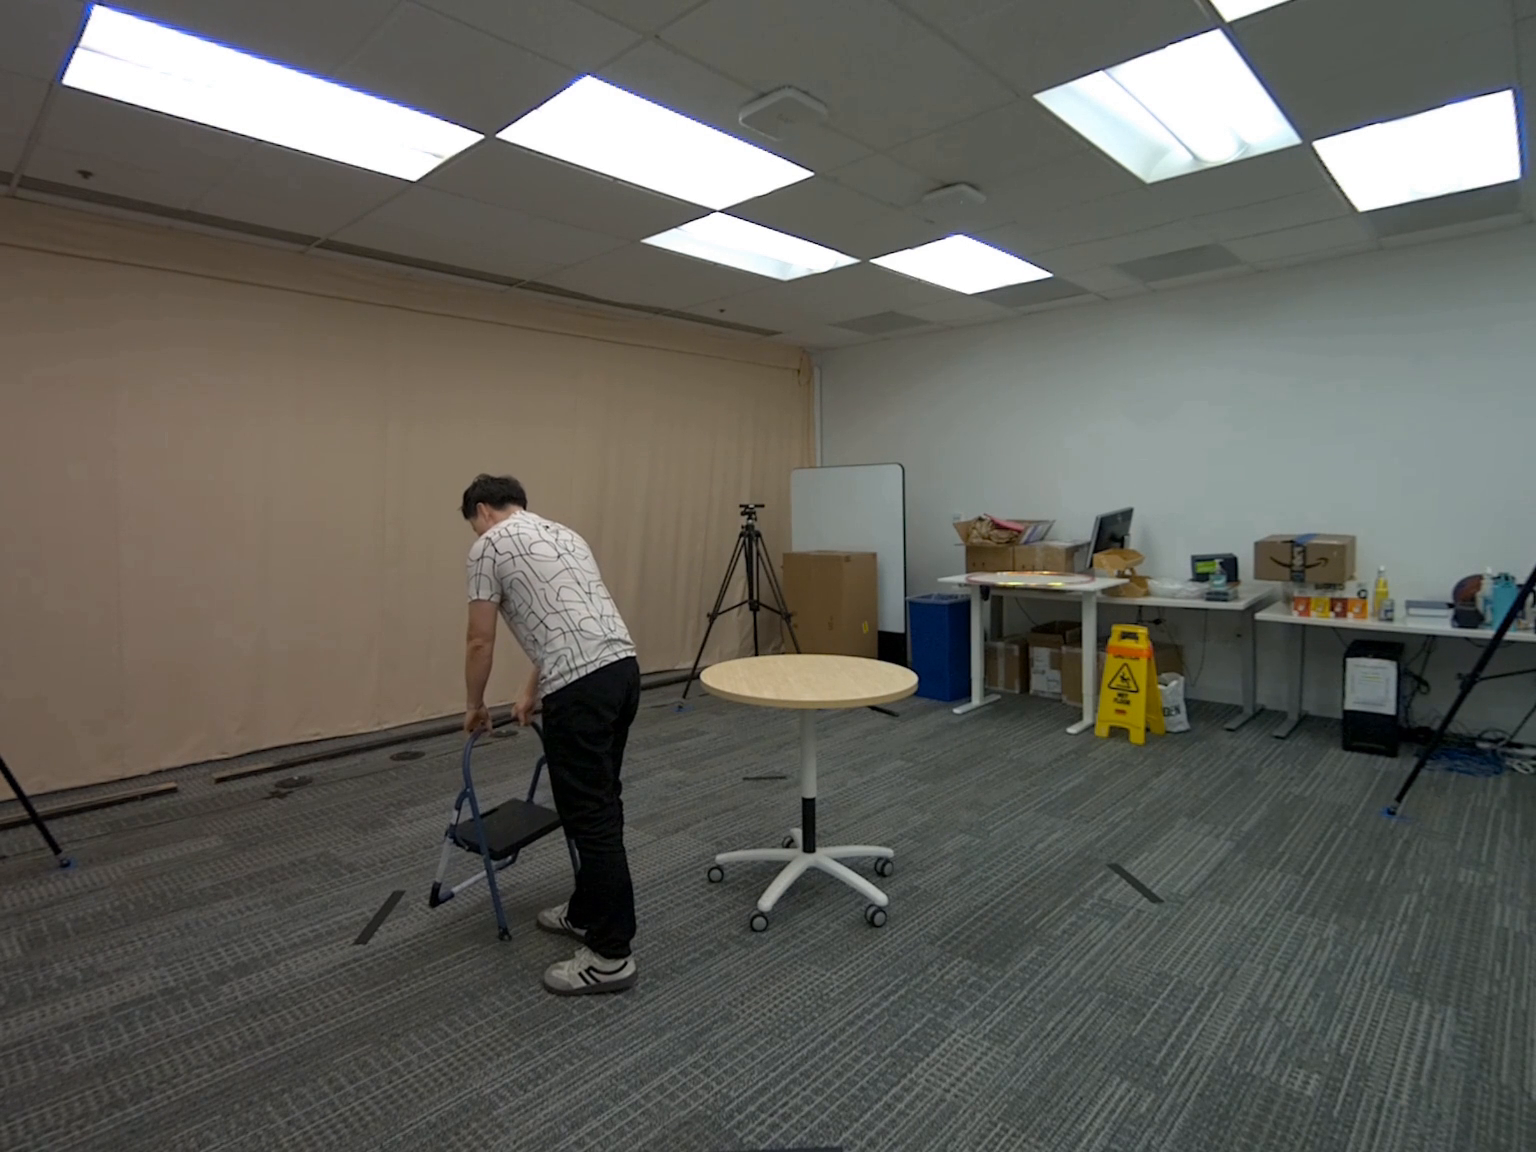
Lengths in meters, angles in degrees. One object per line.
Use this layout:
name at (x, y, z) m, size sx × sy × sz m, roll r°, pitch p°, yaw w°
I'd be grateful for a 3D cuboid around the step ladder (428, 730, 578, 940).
step ladder at (-0.878, 0.804, 2.859) m, size 0.358 × 0.604 × 0.421 m, roll 6°, pitch 7°, yaw 24°
